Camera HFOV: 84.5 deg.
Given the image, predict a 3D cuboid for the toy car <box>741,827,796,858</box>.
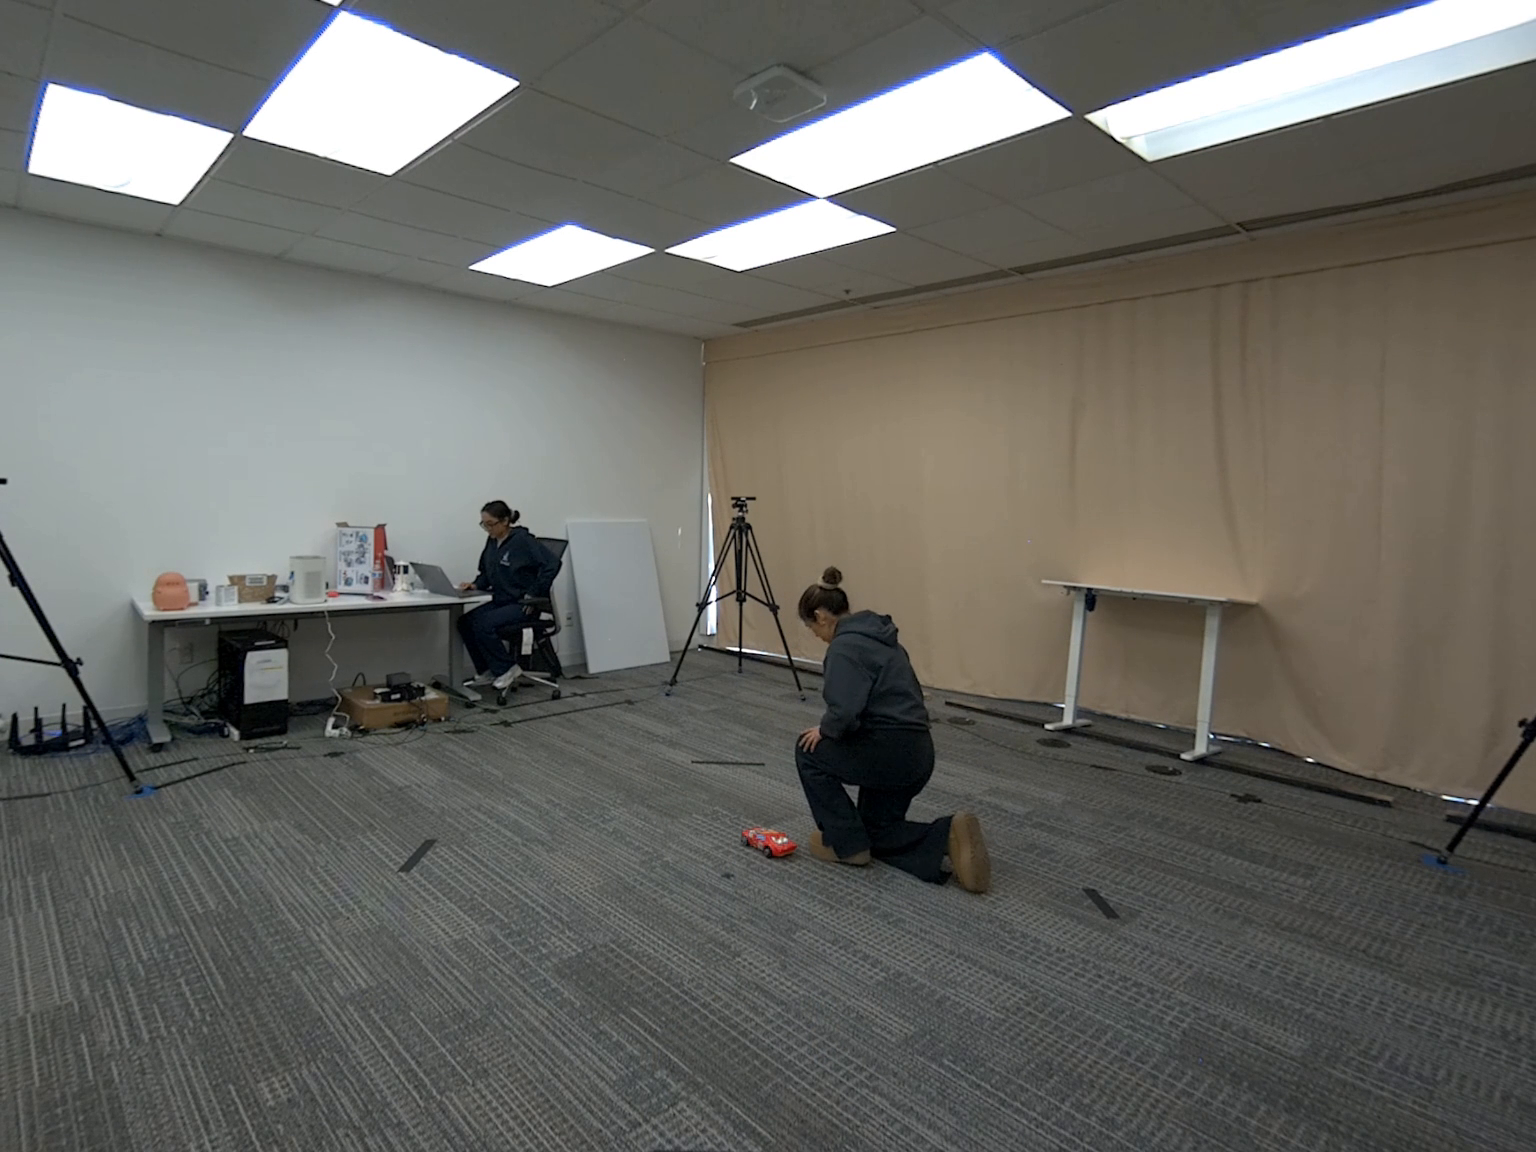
[{"bbox_3d":[0.000,1.054,3.361,0.127,0.083,0.259,-2,-5,-40],"label":"toy car"}]
